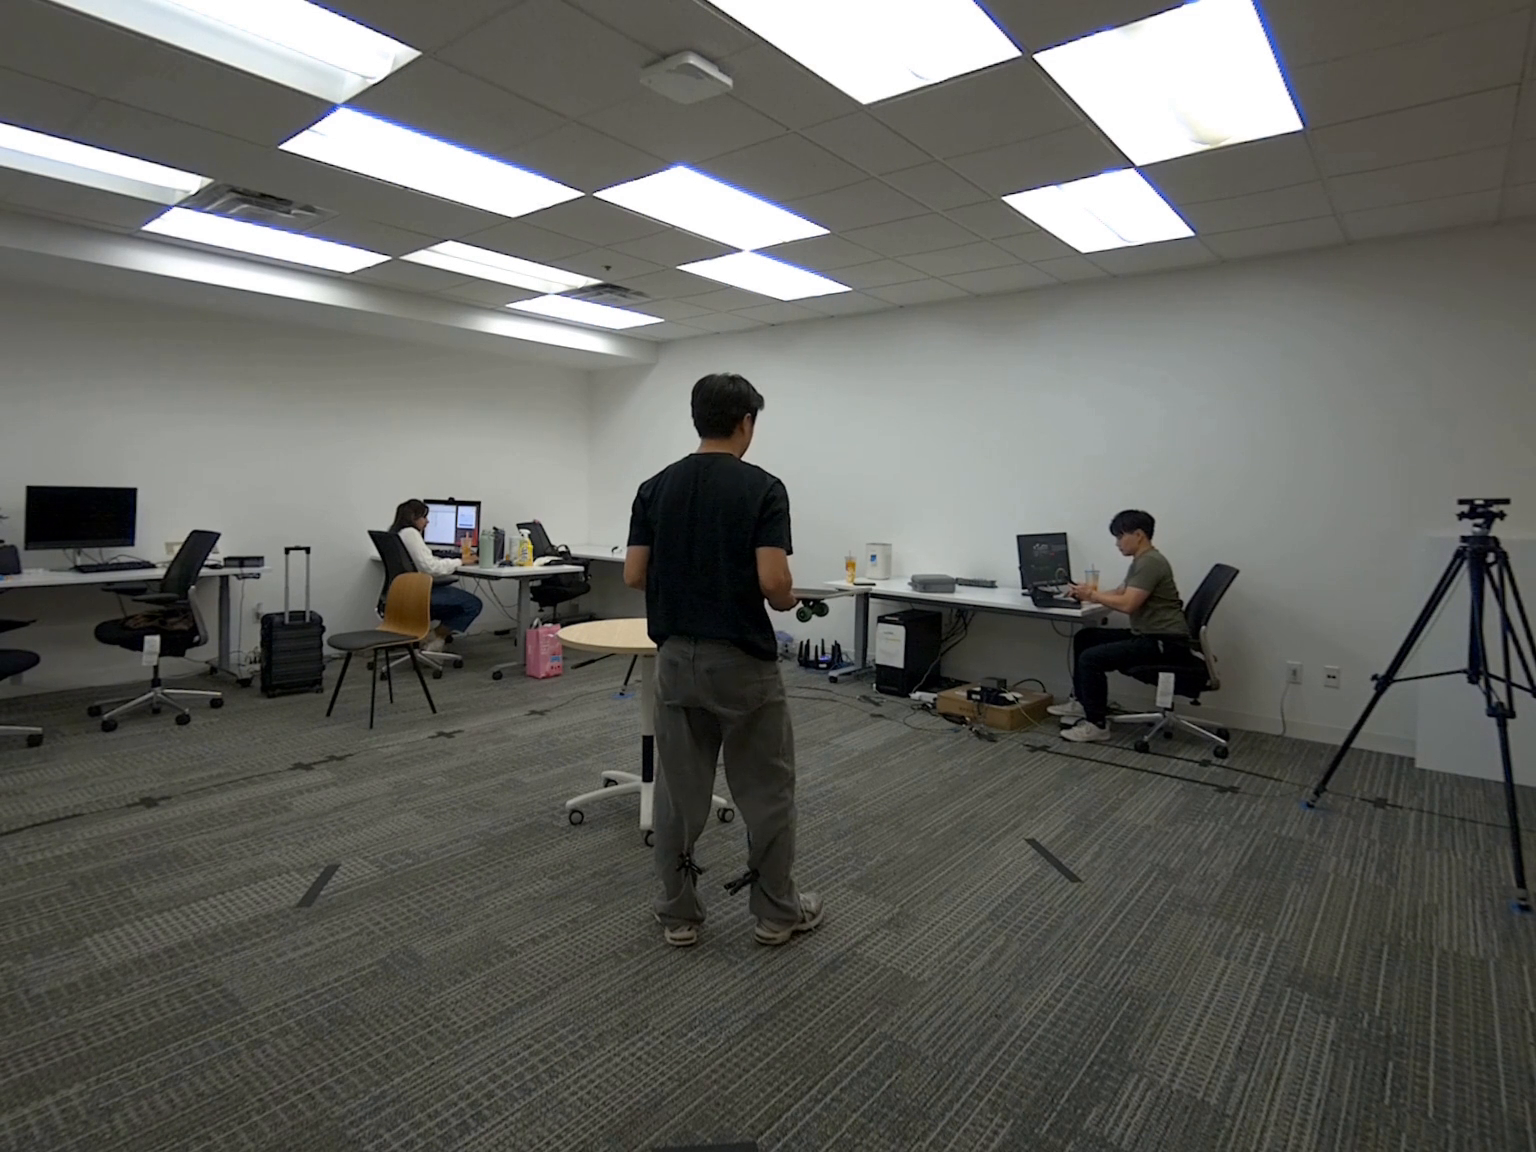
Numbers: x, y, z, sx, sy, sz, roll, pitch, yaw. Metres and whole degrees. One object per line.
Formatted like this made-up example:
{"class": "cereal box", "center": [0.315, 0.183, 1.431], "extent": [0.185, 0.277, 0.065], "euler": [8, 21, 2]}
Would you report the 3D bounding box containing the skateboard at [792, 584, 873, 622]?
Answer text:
{"class": "skateboard", "center": [-0.021, 0.083, 2.875], "extent": [0.807, 0.110, 0.188], "euler": [1, 4, 29]}
